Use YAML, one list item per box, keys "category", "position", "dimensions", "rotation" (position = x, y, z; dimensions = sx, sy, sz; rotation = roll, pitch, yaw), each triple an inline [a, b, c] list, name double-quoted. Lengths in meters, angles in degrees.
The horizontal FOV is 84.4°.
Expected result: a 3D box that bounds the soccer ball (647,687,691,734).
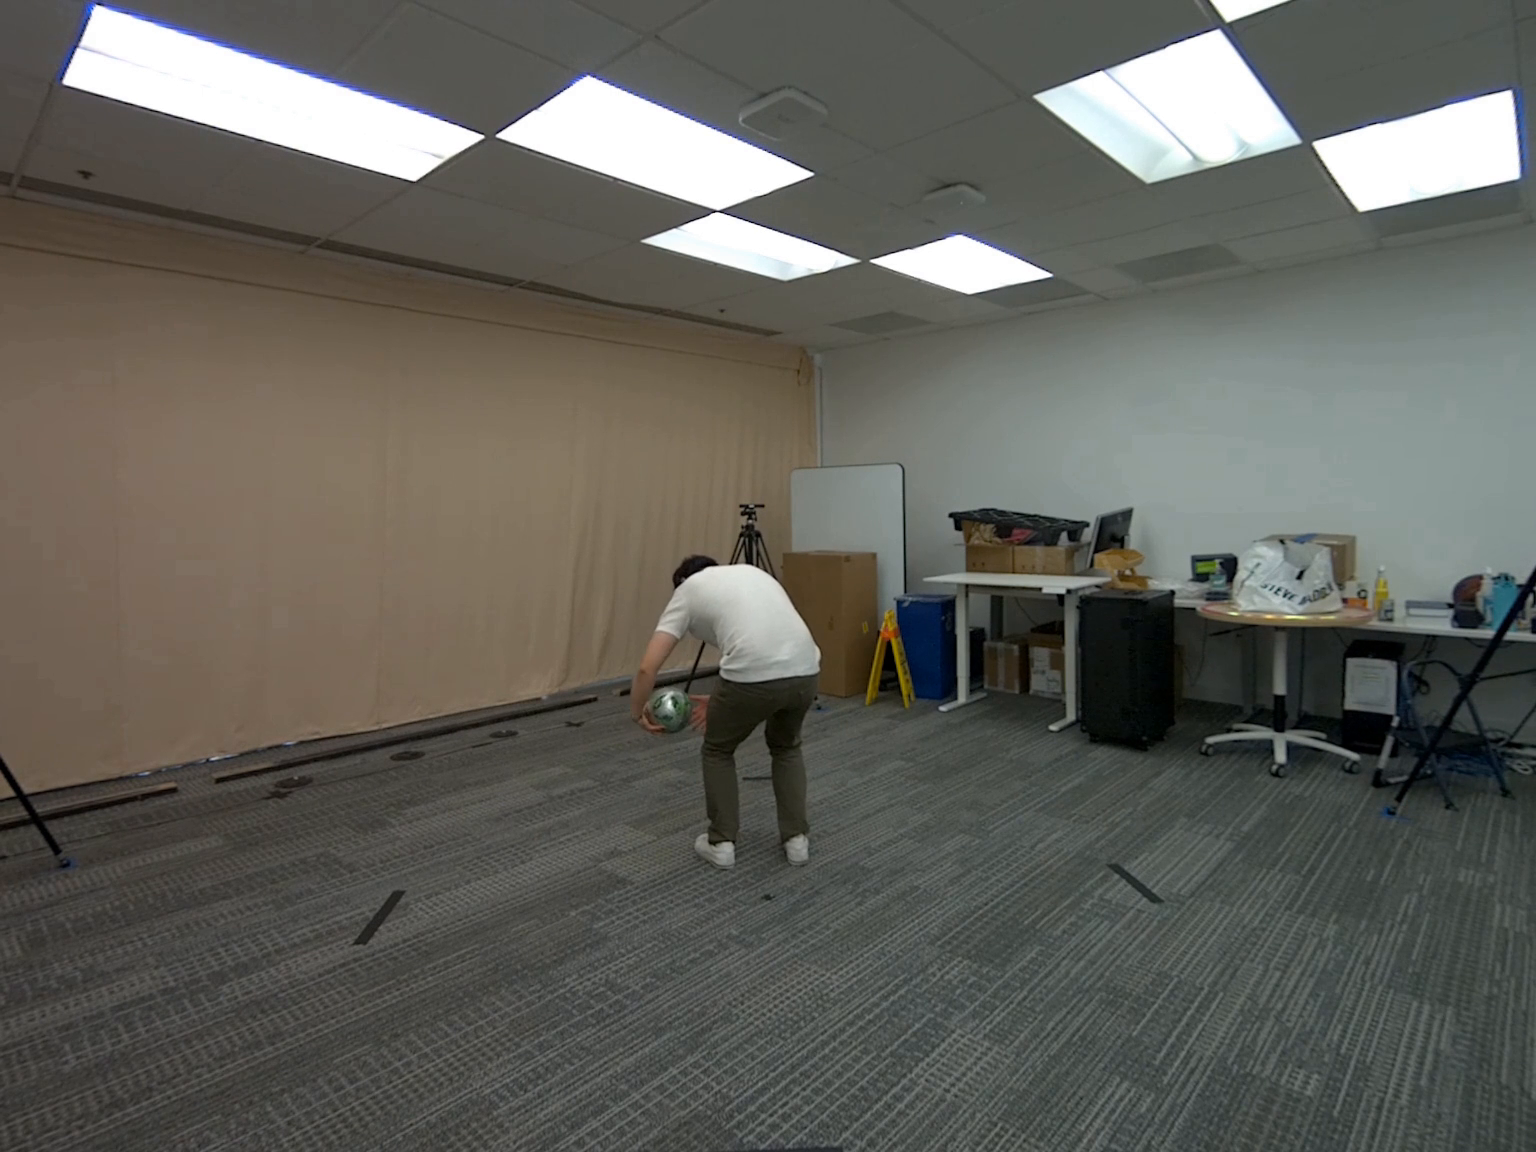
- category: "soccer ball"
  position: [-0.390, 0.546, 3.395]
  dimensions: [0.187, 0.187, 0.188]
  rotation: [-1, 4, -2]
